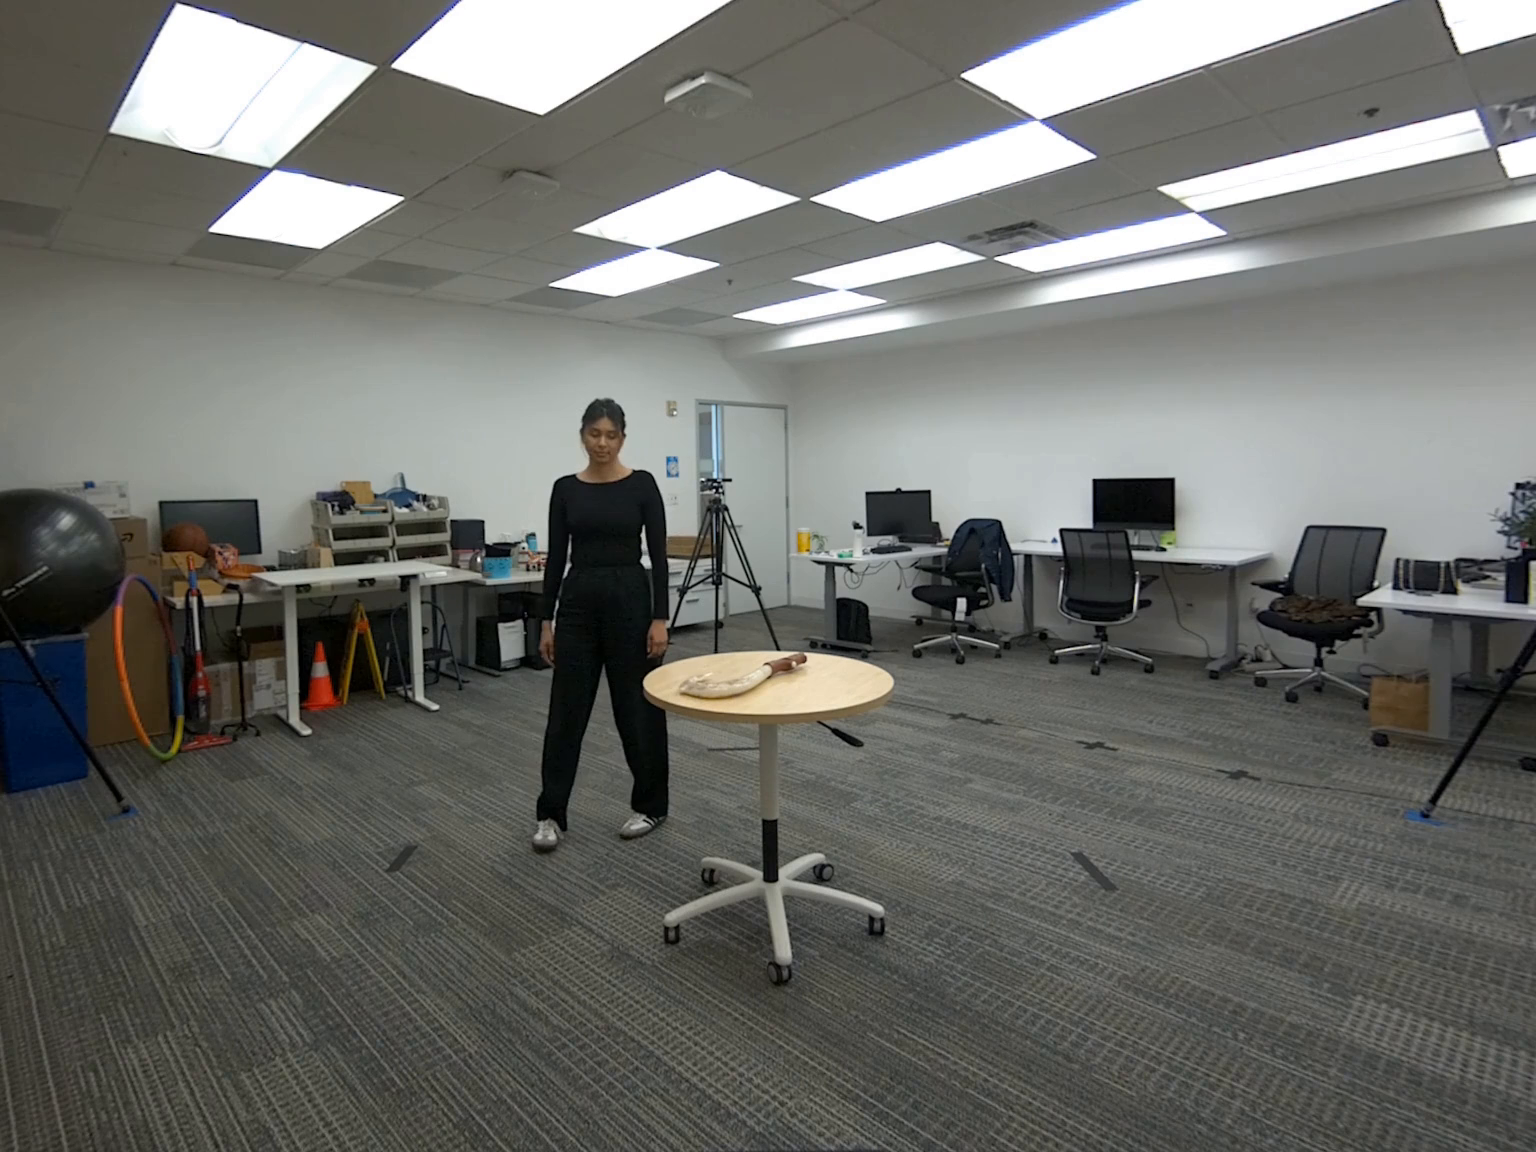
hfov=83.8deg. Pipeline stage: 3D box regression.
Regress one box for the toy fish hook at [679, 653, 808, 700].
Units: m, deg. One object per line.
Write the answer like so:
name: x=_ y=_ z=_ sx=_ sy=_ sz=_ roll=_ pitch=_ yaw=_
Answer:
toy fish hook: x=-0.064 y=0.297 z=2.613 sx=0.231 sy=0.048 sz=0.495 roll=3 pitch=8 yaw=34
